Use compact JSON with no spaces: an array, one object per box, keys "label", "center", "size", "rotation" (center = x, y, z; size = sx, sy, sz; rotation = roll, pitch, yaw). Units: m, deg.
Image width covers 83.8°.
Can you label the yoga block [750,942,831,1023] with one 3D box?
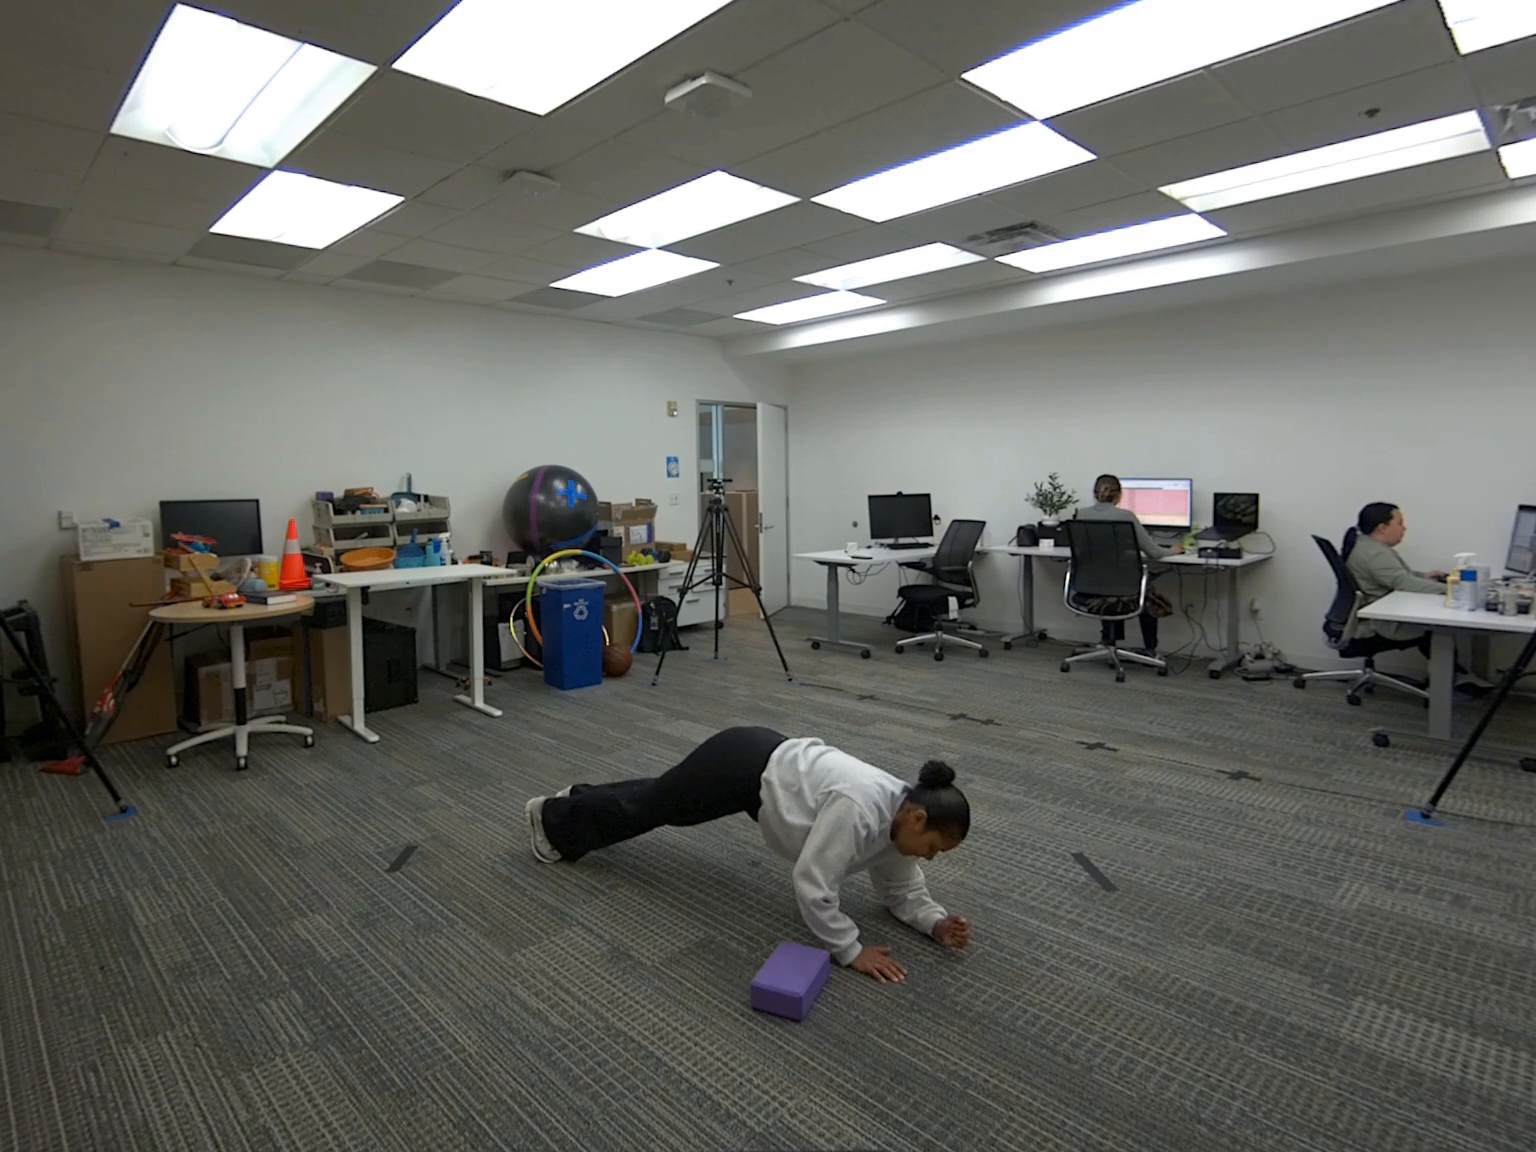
[{"label":"yoga block","center":[0.072,1.100,2.316],"size":[0.152,0.076,0.225],"rotation":[4,8,25]}]
